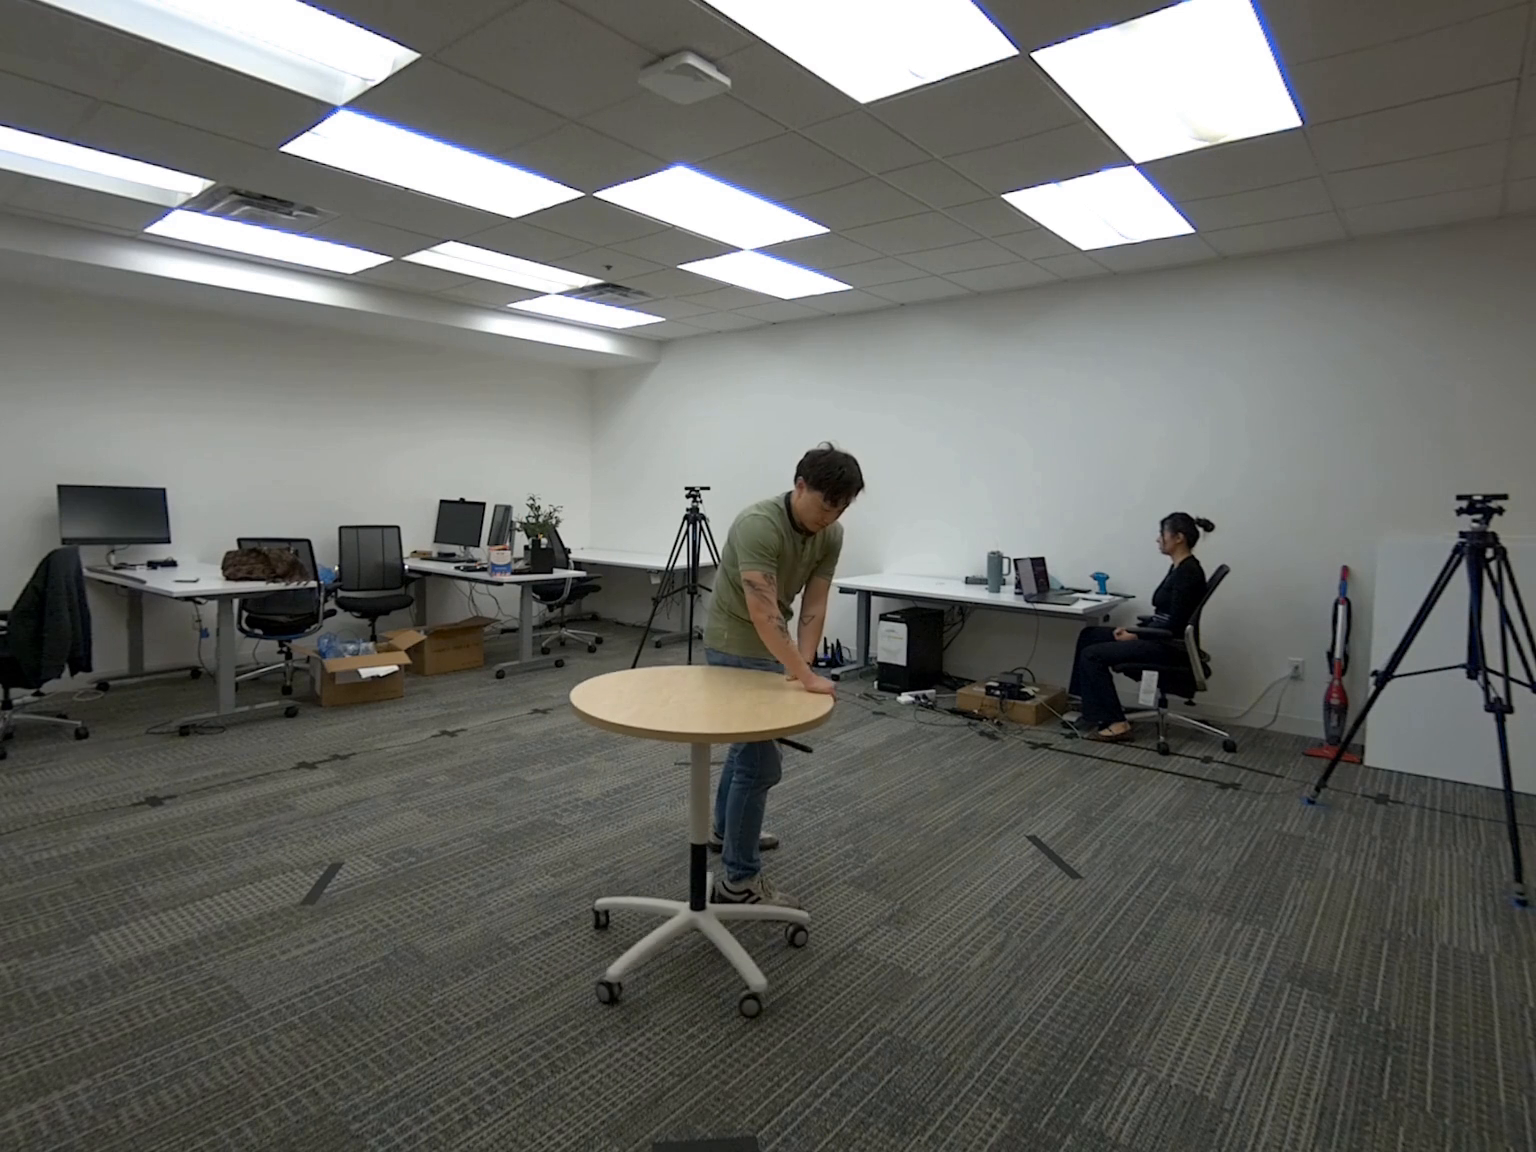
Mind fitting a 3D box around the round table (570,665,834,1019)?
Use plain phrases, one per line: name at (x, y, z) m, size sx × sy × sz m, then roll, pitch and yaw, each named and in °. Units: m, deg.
round table at (-0.206, 0.735, 2.521) m, size 0.763 × 0.791 × 0.768 m, roll 1°, pitch 5°, yaw -2°
